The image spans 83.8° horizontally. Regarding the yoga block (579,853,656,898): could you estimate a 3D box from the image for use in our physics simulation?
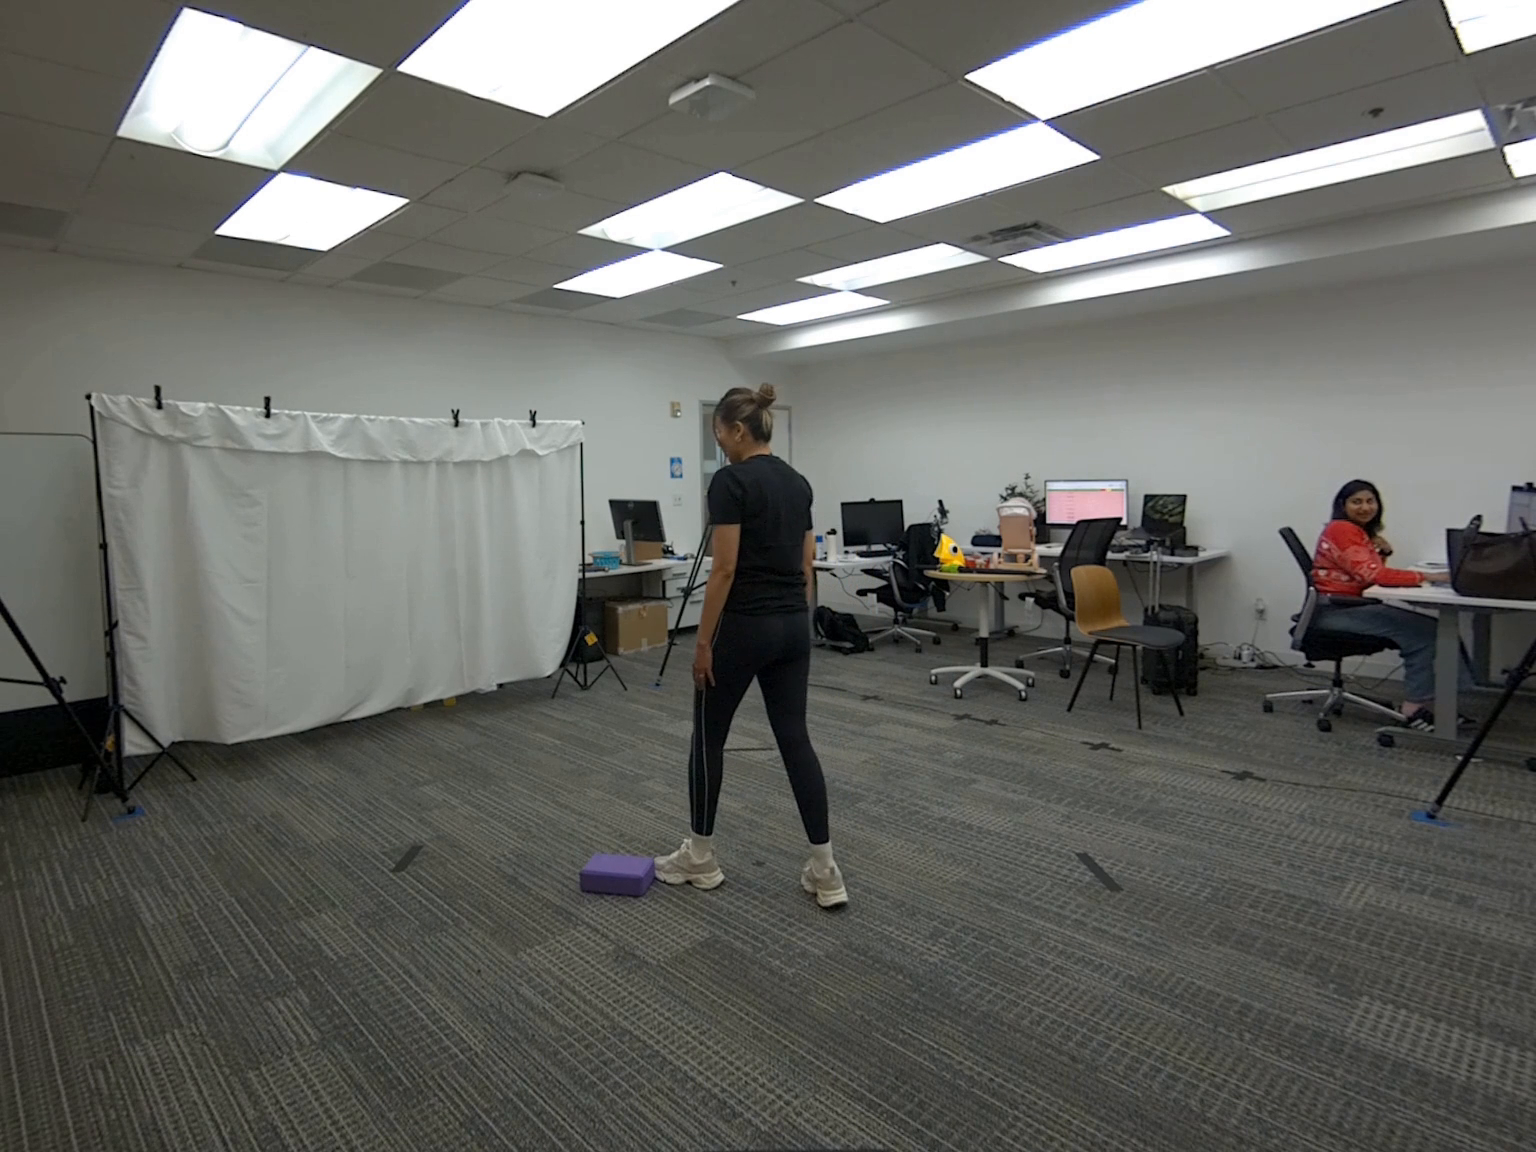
[{"bbox_3d":[-0.513,1.035,2.954,0.232,0.076,0.148,0,6,12],"label":"yoga block"}]
